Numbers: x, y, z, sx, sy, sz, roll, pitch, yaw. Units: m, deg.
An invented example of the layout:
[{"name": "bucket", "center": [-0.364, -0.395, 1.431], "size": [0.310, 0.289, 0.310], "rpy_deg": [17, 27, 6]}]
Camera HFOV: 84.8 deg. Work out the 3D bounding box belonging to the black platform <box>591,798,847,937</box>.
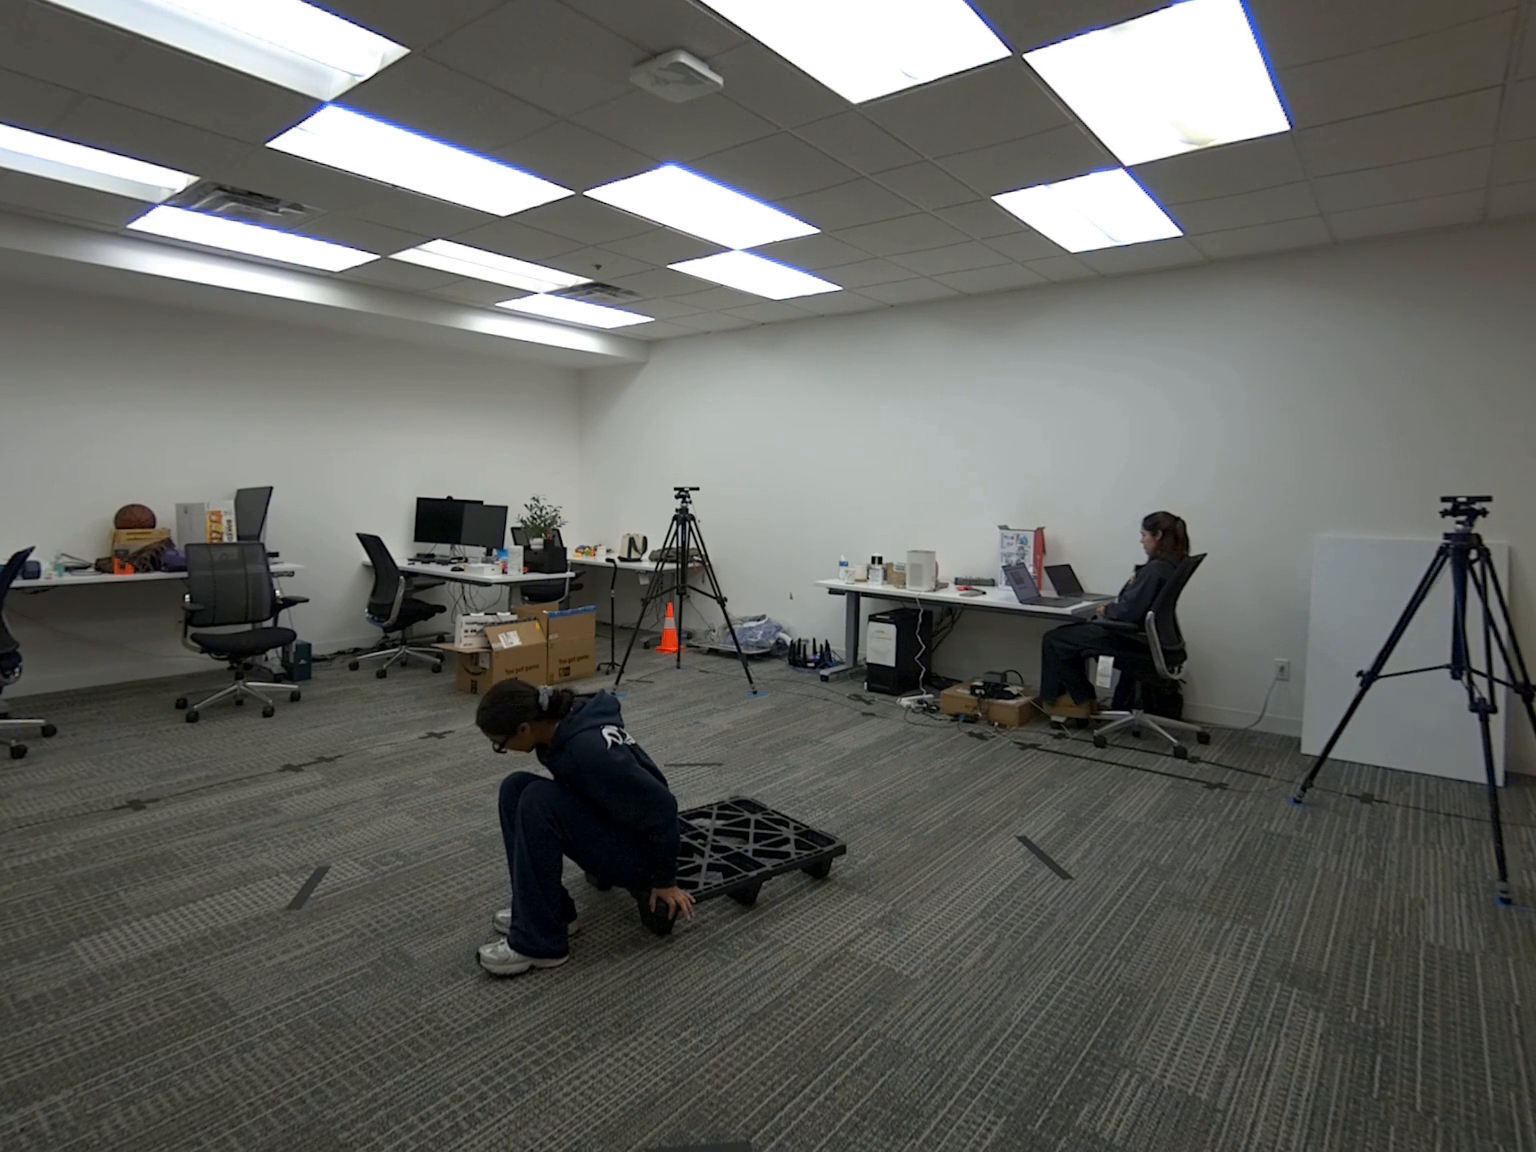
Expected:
[{"name": "black platform", "center": [-0.214, 1.009, 3.033], "size": [0.782, 0.142, 0.626], "rpy_deg": [-4, 8, -38]}]
